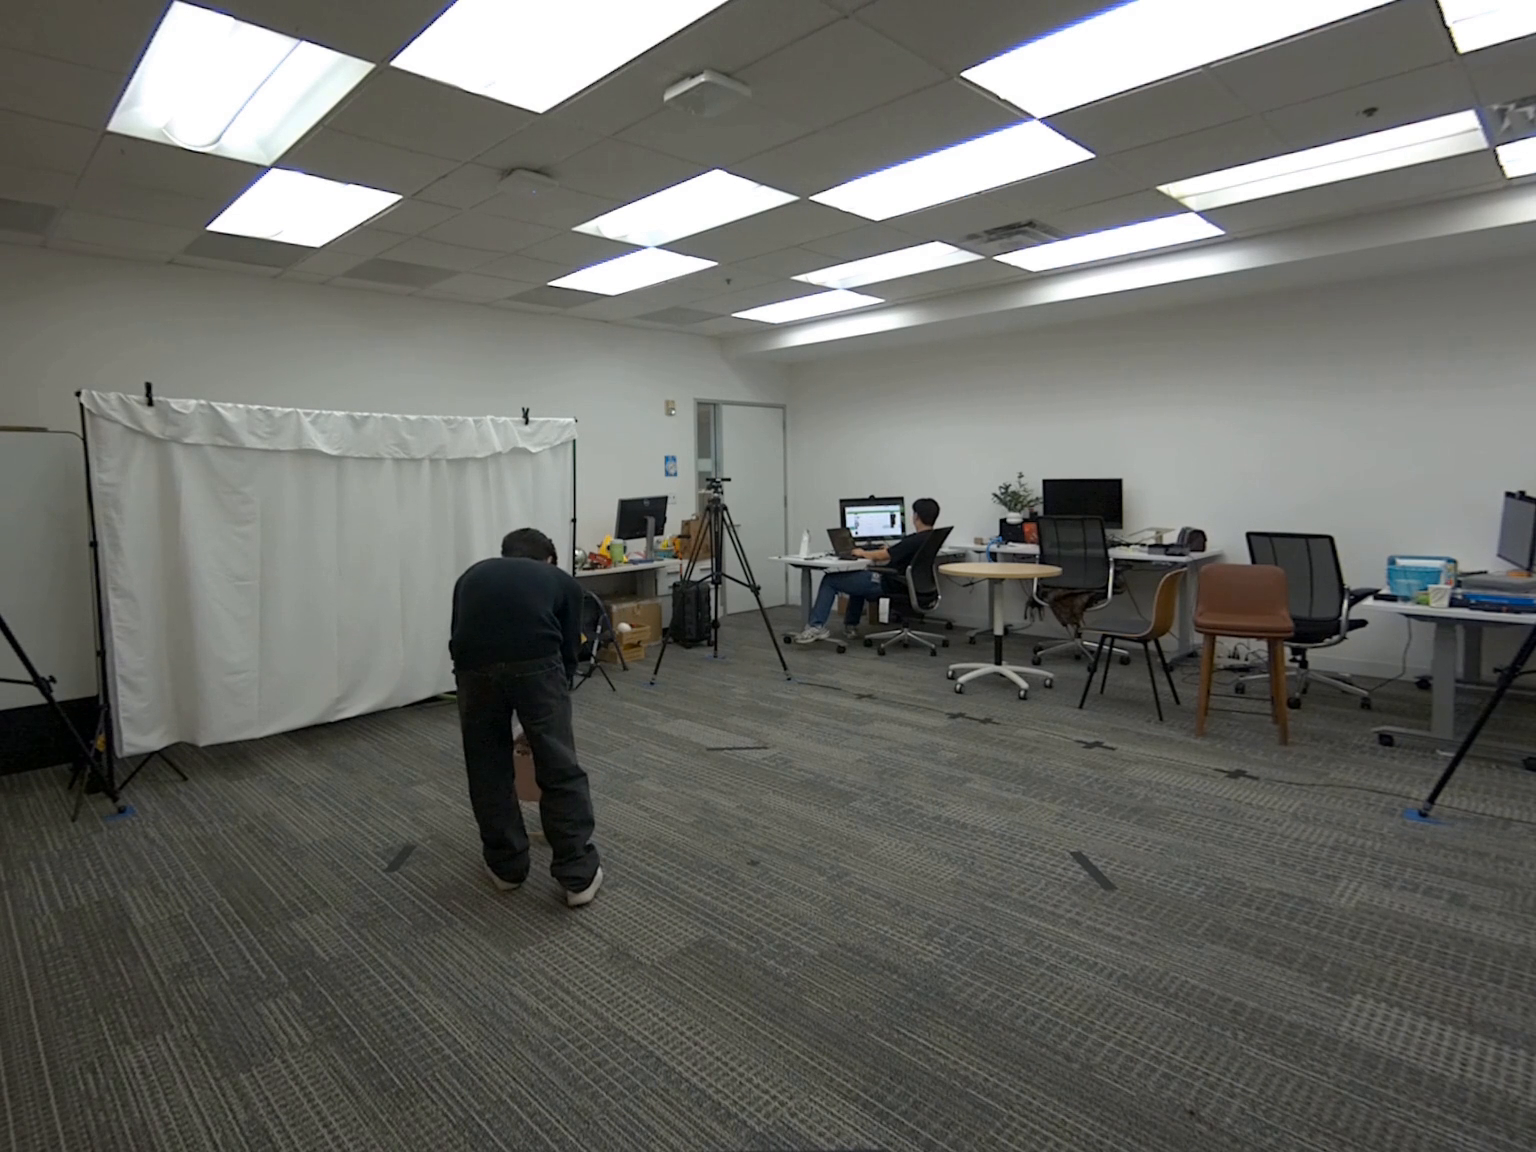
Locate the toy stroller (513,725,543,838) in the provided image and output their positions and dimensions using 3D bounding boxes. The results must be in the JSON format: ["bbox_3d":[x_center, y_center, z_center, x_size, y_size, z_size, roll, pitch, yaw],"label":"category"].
[{"bbox_3d":[-0.905,0.803,3.407,0.286,0.525,0.342,0,20,15],"label":"toy stroller"}]
